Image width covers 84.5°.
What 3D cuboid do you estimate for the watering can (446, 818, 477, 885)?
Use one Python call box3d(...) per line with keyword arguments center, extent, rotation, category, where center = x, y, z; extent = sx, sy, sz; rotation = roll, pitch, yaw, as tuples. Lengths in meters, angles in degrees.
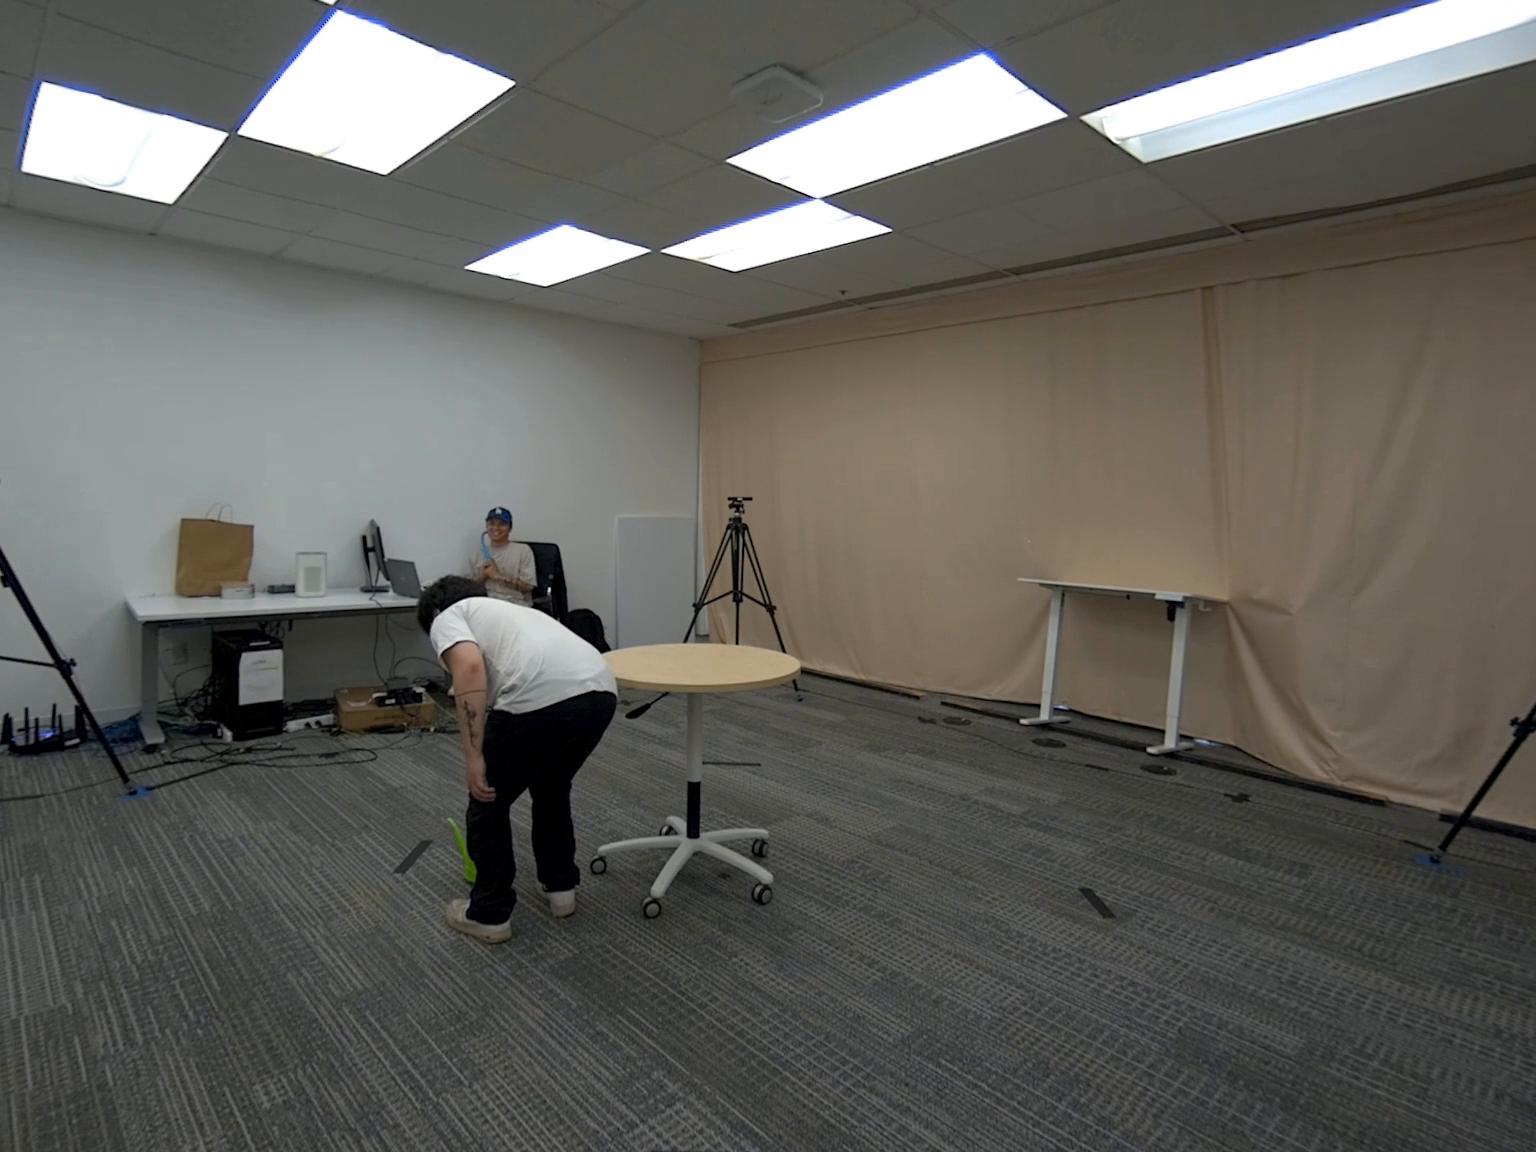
box3d(center=(-1.071, 0.992, 3.033), extent=(0.285, 0.176, 0.095), rotation=(8, 3, 40), category="watering can")
